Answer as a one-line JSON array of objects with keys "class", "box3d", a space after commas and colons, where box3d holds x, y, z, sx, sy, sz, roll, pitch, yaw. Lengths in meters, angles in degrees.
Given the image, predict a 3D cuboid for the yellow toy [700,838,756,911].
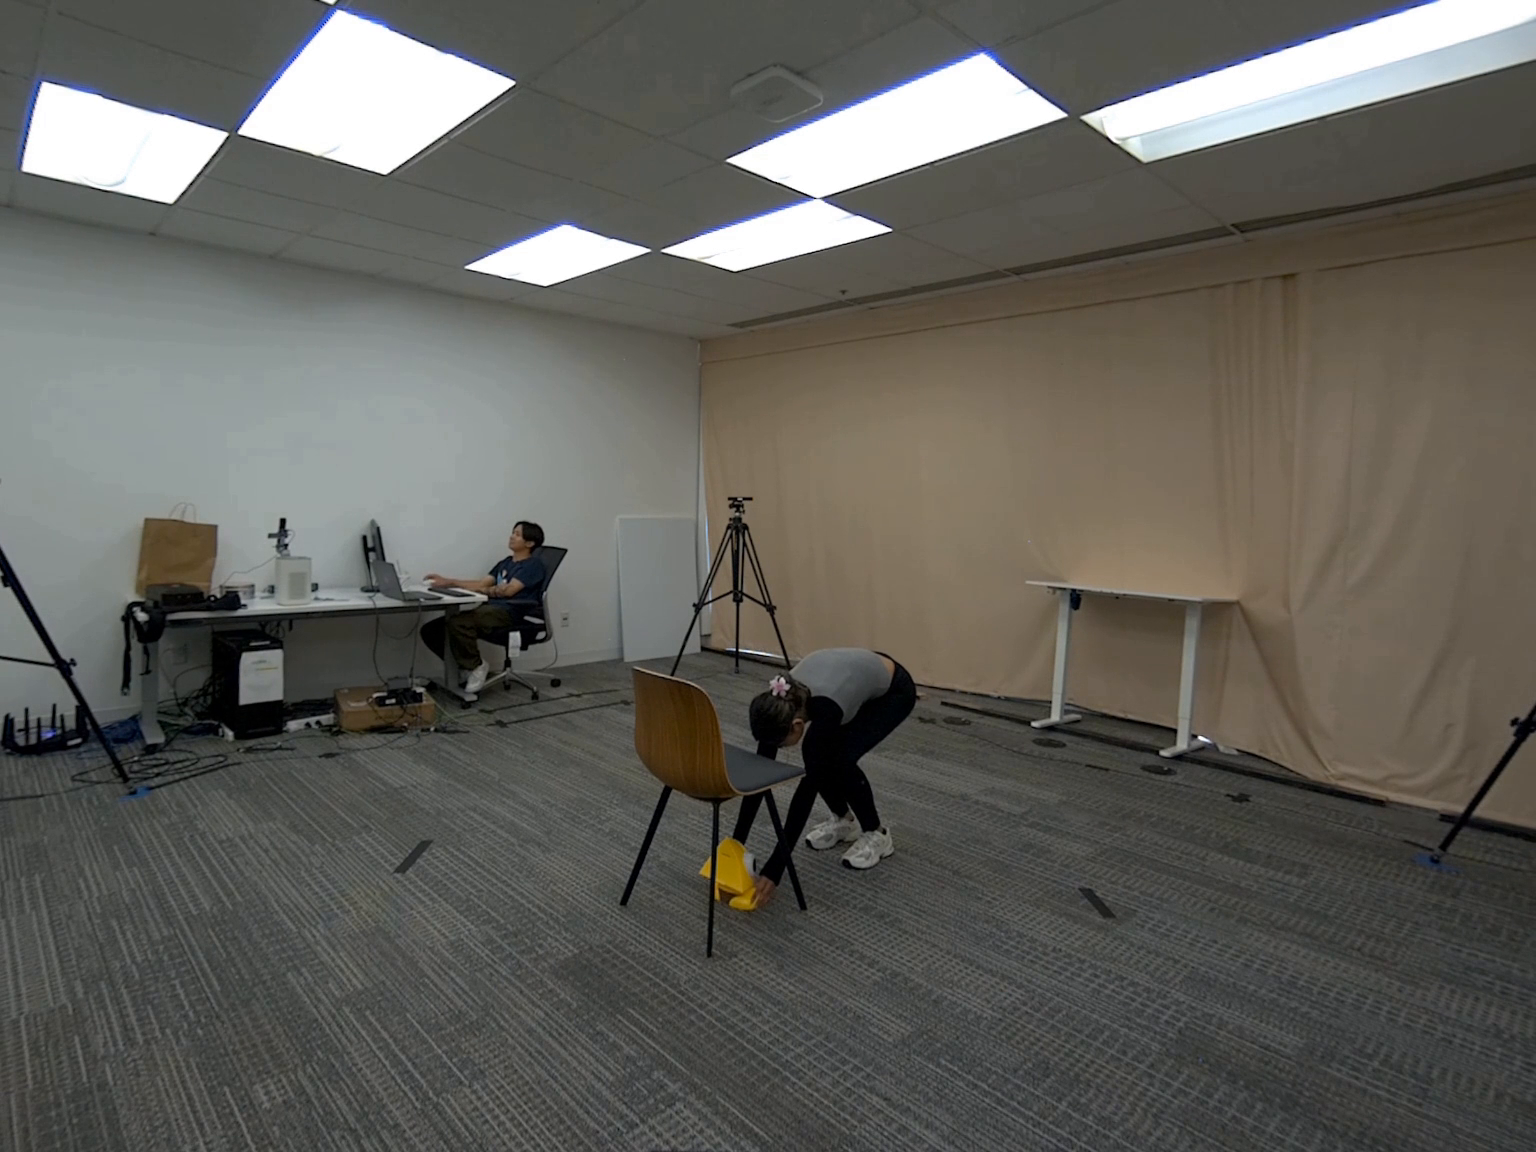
[{"class": "yellow toy", "box3d": [-0.111, 1.009, 2.943, 0.210, 0.230, 0.189, 5, 7, 43]}]
